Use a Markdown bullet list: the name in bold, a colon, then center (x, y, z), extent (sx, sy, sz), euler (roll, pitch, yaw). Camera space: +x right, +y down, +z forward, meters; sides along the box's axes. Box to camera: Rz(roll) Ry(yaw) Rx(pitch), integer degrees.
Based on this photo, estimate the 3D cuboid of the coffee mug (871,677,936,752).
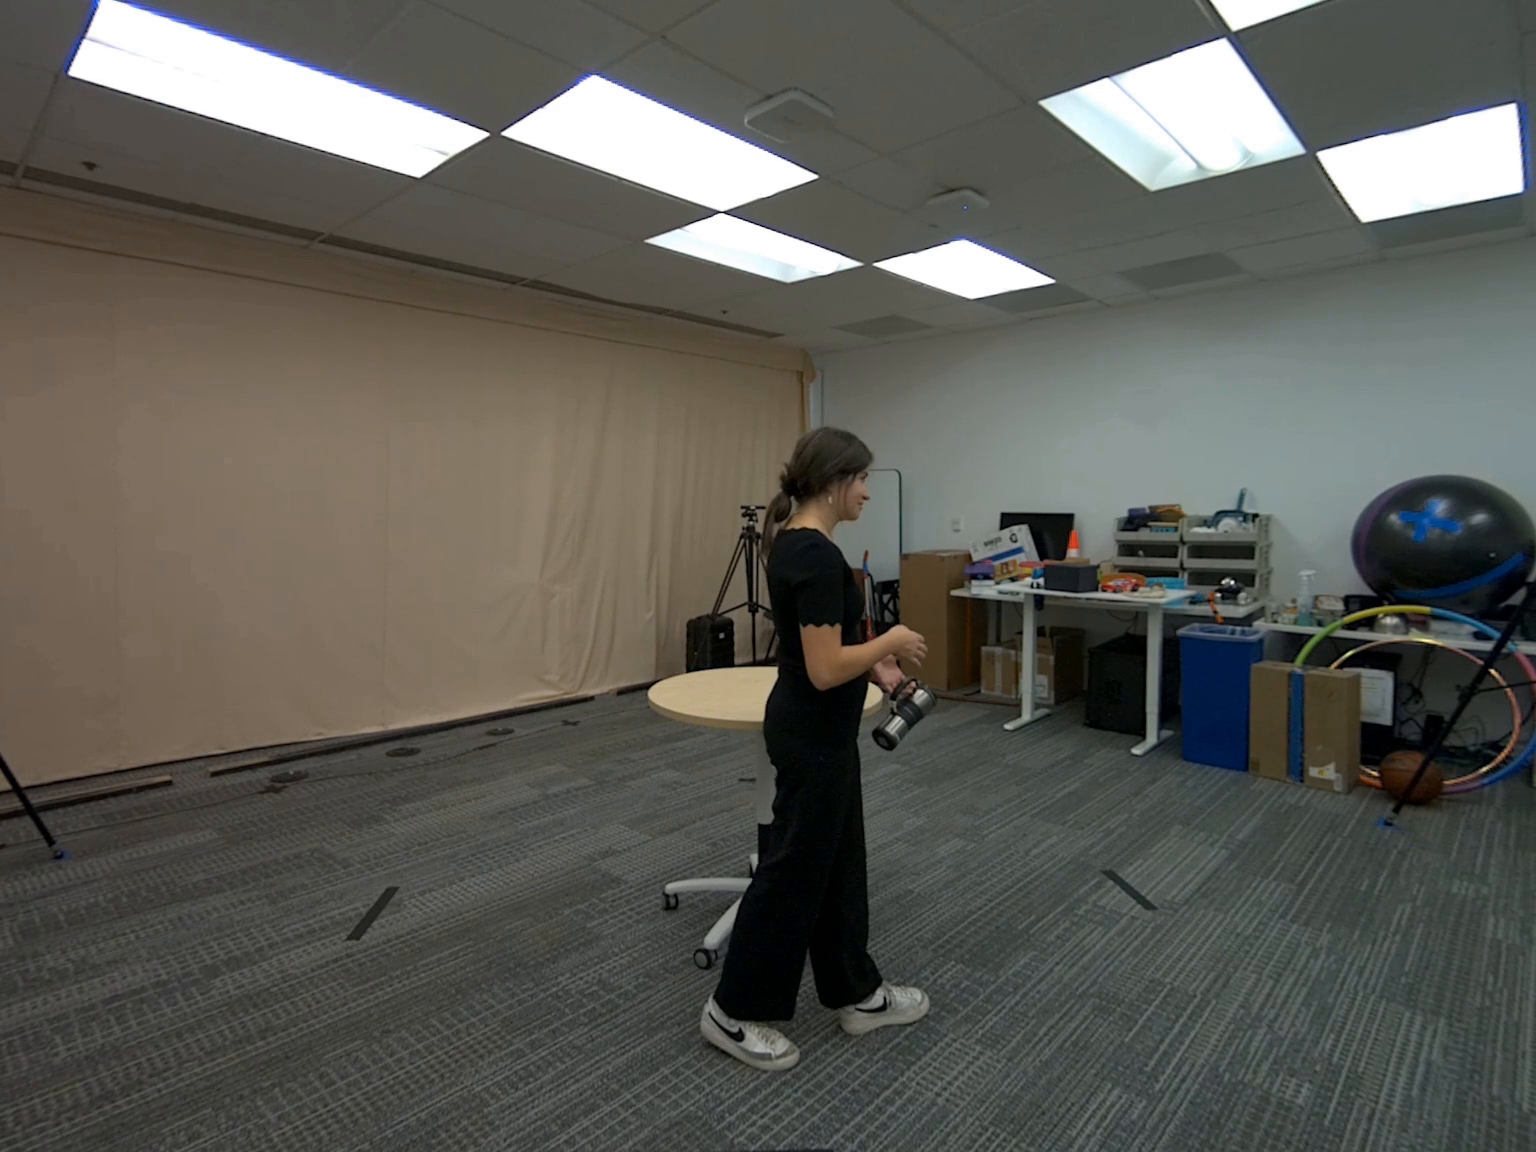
- **coffee mug**: center (0.358, 0.359, 2.258), extent (0.200, 0.121, 0.089), euler (-34, 4, -26)
